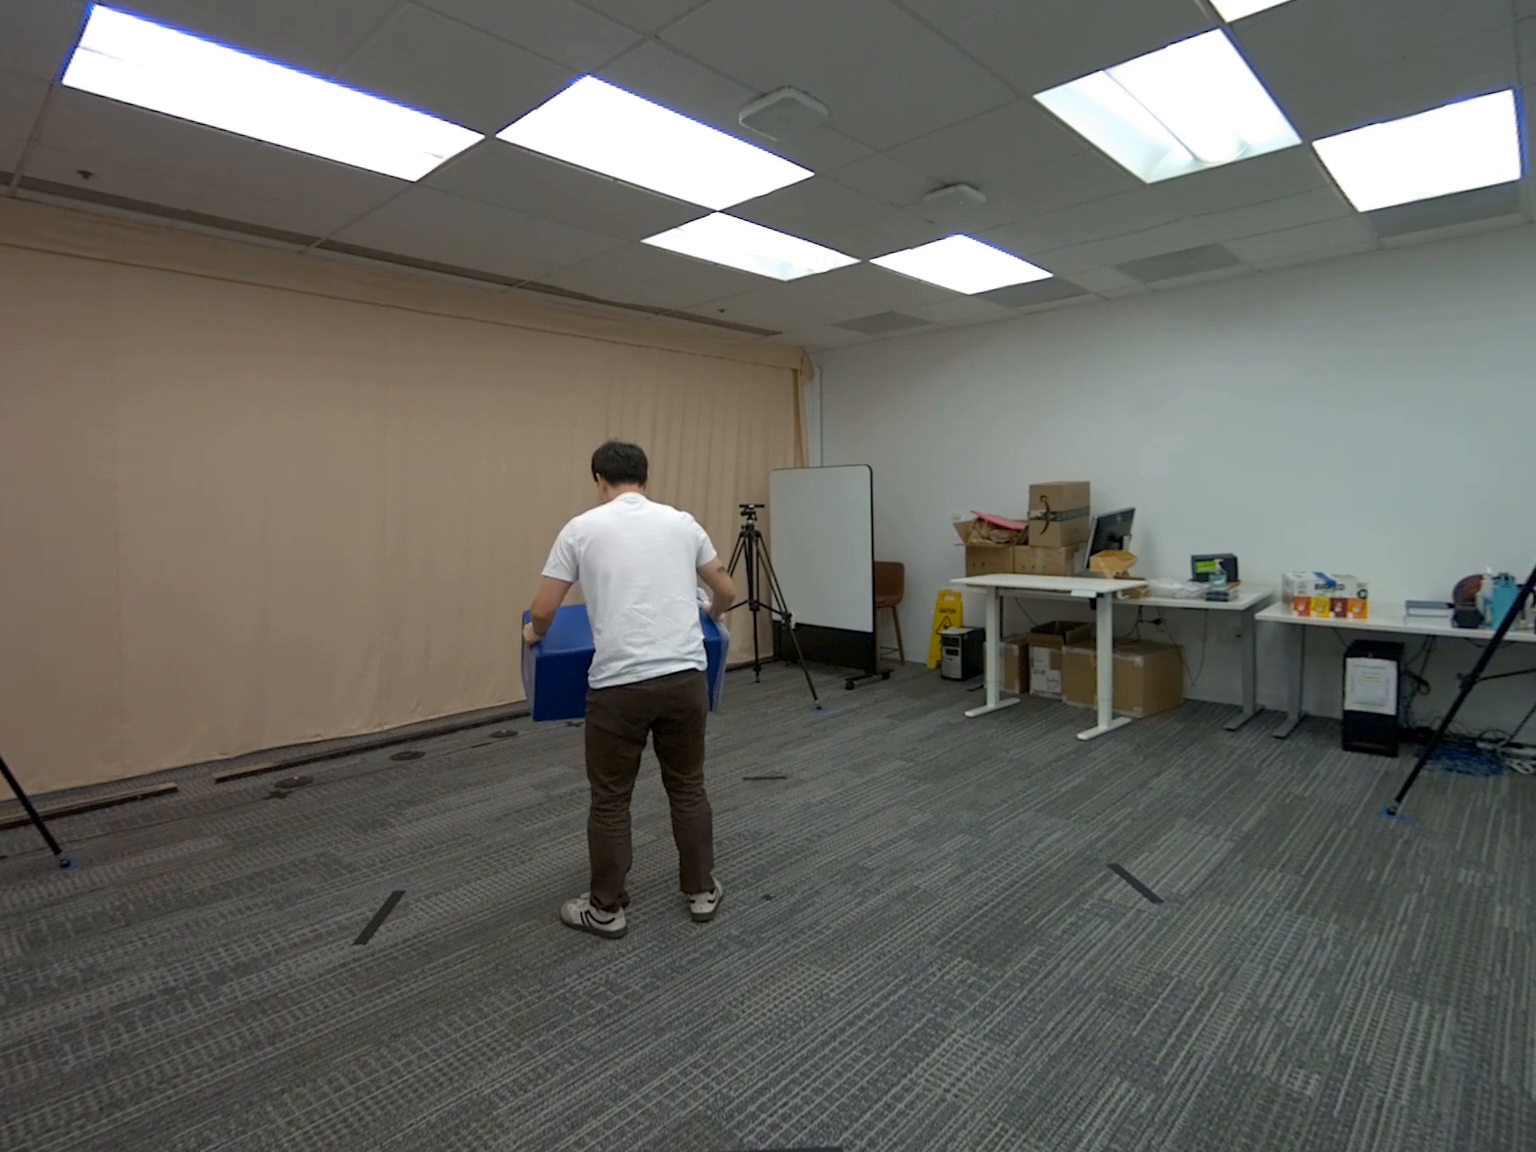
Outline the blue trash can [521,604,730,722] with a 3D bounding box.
[{"bbox_3d":[-0.554,0.313,3.222,0.698,0.374,0.386,-5,31,-23],"label":"blue trash can"}]
